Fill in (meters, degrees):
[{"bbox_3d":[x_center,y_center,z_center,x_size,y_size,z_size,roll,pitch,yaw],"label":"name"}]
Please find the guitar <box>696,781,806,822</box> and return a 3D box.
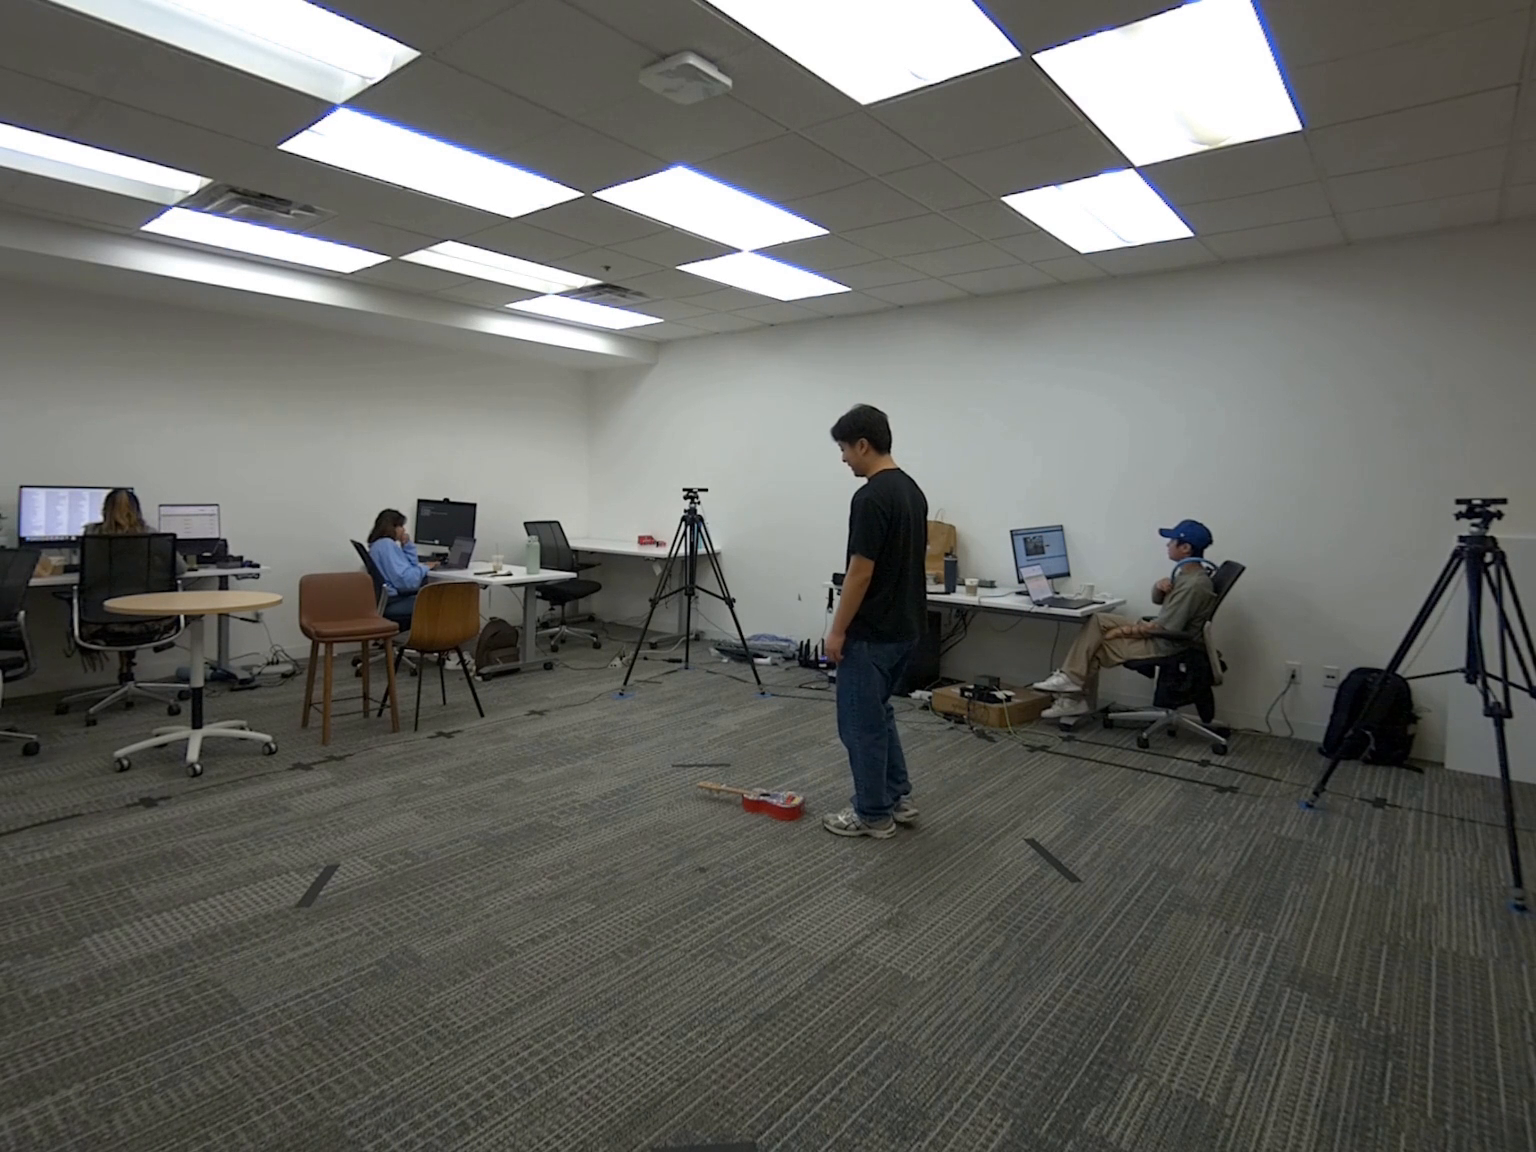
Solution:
[{"bbox_3d":[-0.078,0.975,3.782,0.513,0.070,0.188,5,7,31],"label":"guitar"}]
